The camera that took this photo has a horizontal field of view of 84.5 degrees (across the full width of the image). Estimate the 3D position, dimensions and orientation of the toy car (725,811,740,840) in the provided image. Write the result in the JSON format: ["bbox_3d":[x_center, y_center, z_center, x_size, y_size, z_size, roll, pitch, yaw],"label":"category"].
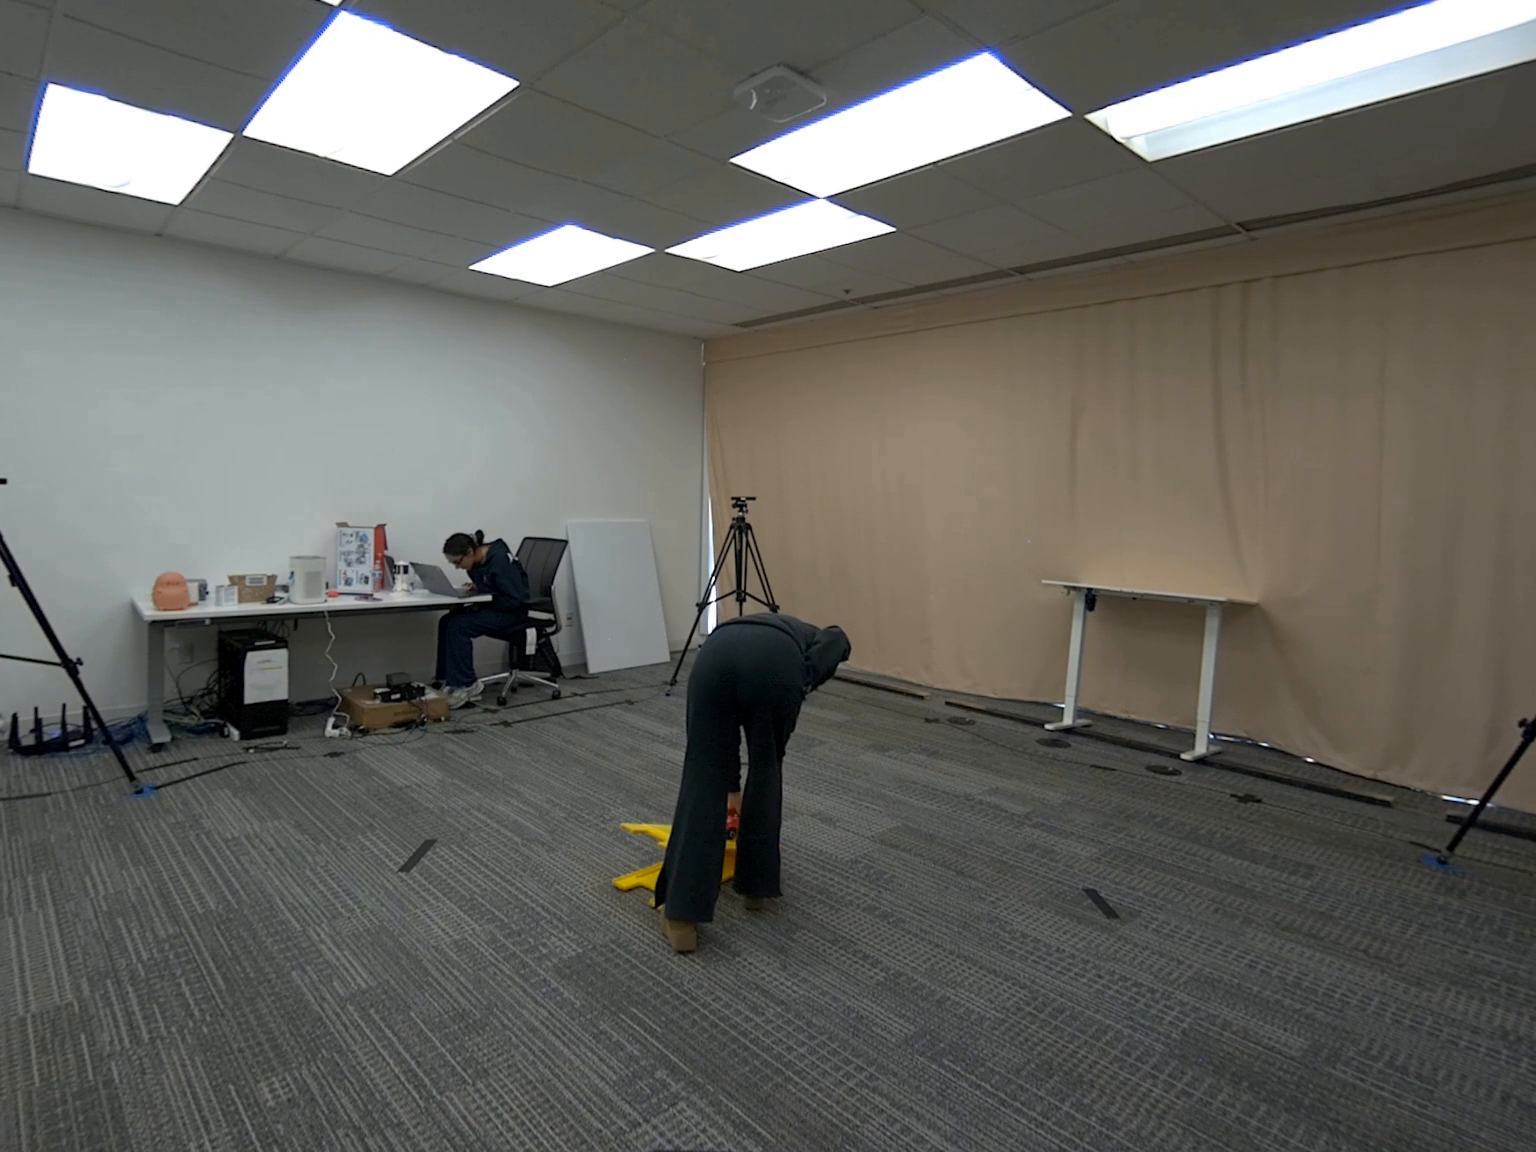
[{"bbox_3d":[-0.145,0.975,3.229,0.247,0.084,0.133,32,-18,-38],"label":"toy car"}]
